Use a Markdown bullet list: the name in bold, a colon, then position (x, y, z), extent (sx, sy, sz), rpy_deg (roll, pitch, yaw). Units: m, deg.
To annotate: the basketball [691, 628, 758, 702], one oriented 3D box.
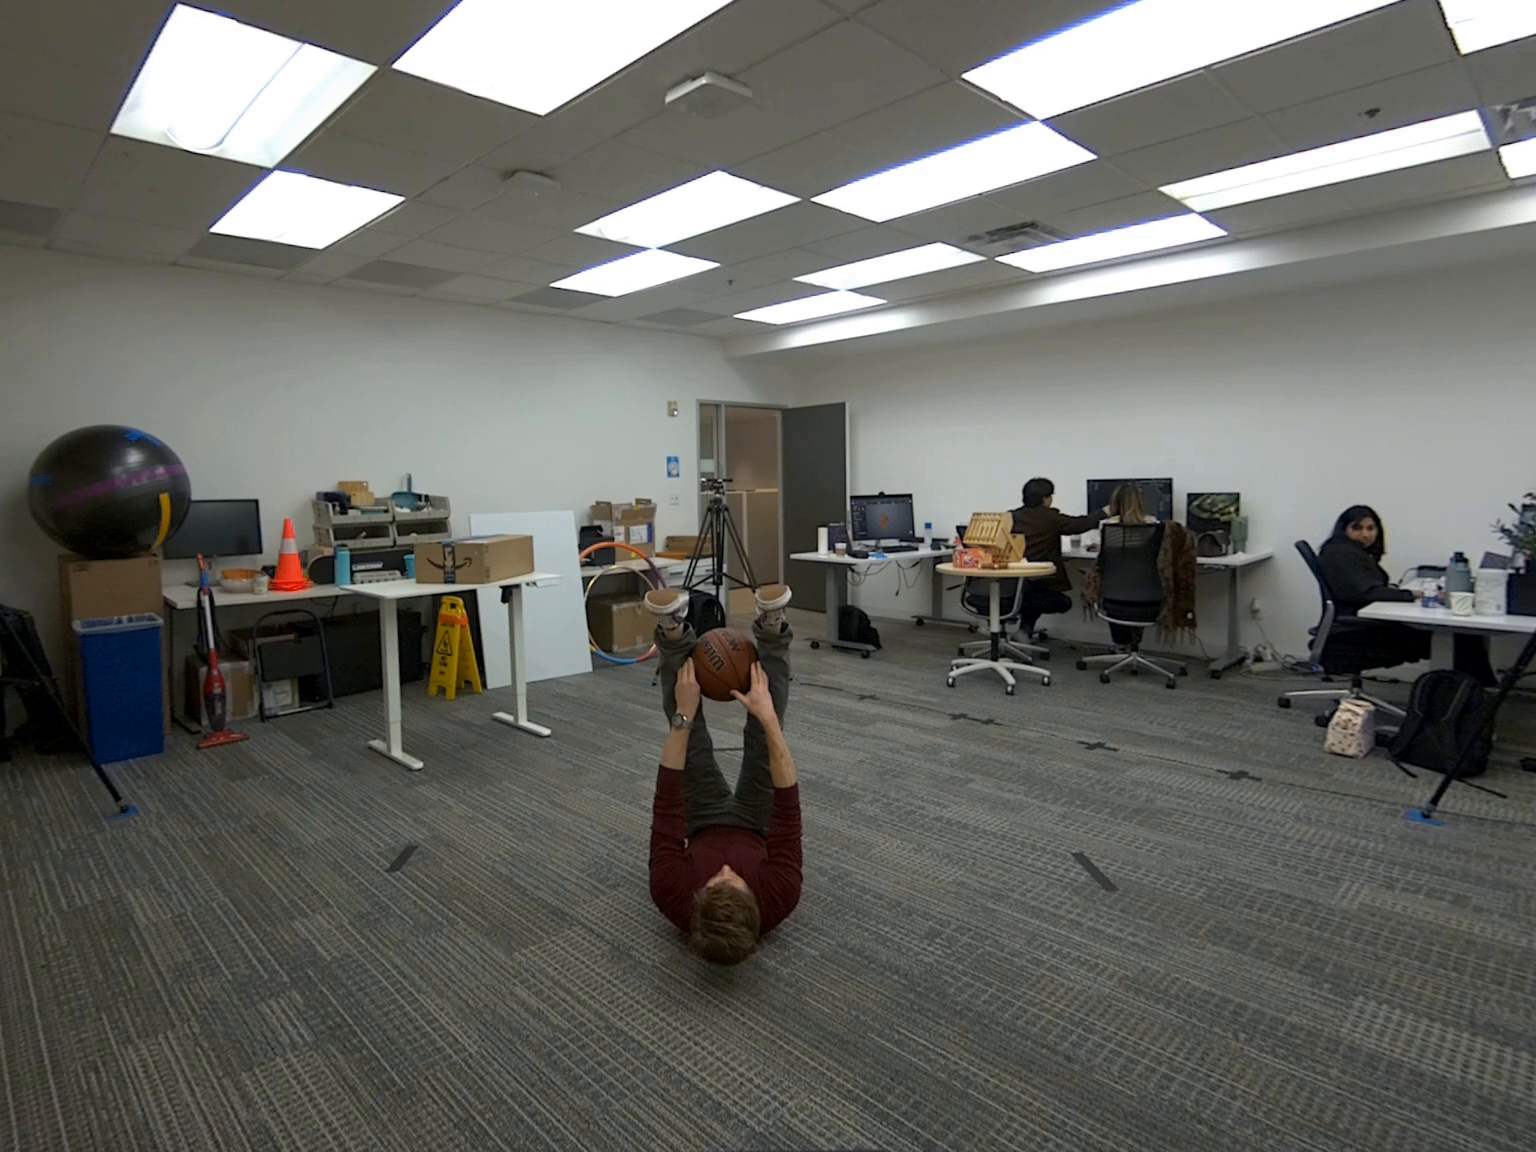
- **basketball**: position (-0.140, 0.287, 2.807), extent (0.236, 0.235, 0.237), rpy_deg (-1, 5, -2)
